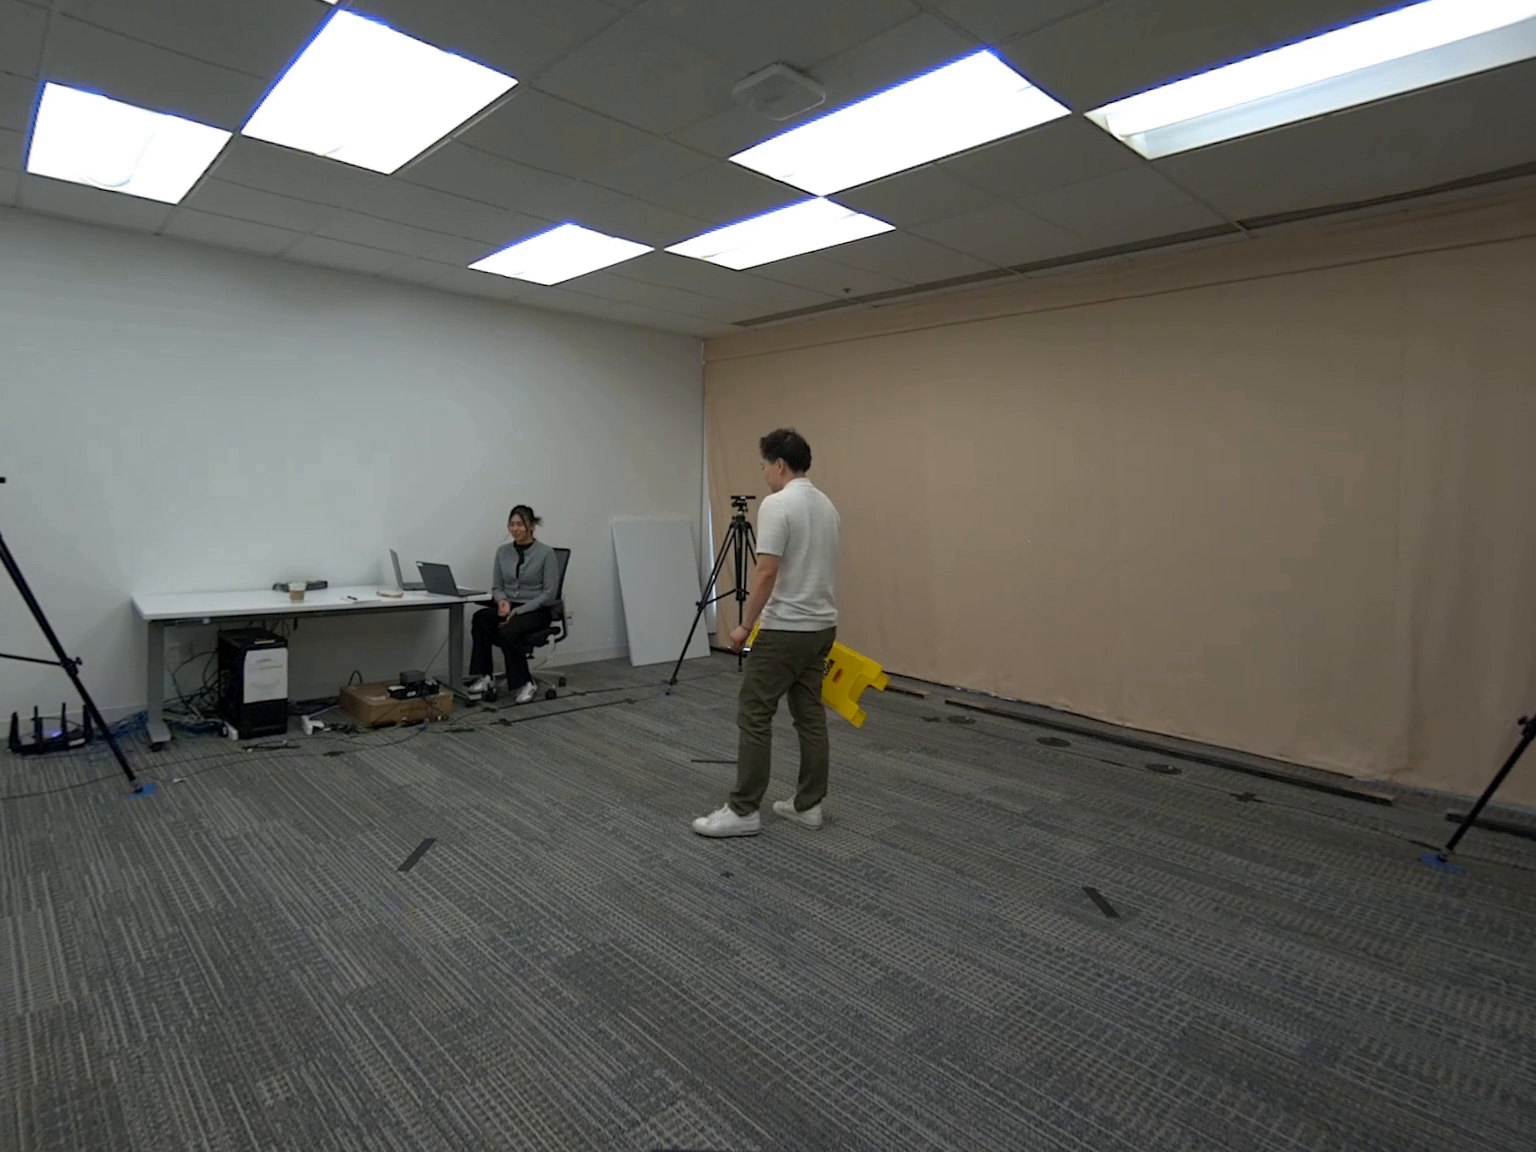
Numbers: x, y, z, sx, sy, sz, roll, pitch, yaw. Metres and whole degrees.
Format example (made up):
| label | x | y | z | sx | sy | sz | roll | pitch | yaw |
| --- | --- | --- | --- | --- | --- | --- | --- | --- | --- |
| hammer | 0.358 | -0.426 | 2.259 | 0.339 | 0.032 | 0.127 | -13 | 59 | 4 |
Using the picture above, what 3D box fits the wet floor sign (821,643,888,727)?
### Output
| label | x | y | z | sx | sy | sz | roll | pitch | yaw |
| --- | --- | --- | --- | --- | --- | --- | --- | --- | --- |
| wet floor sign | 0.206 | 0.403 | 3.919 | 0.661 | 0.282 | 0.283 | 31 | -5 | 22 |
